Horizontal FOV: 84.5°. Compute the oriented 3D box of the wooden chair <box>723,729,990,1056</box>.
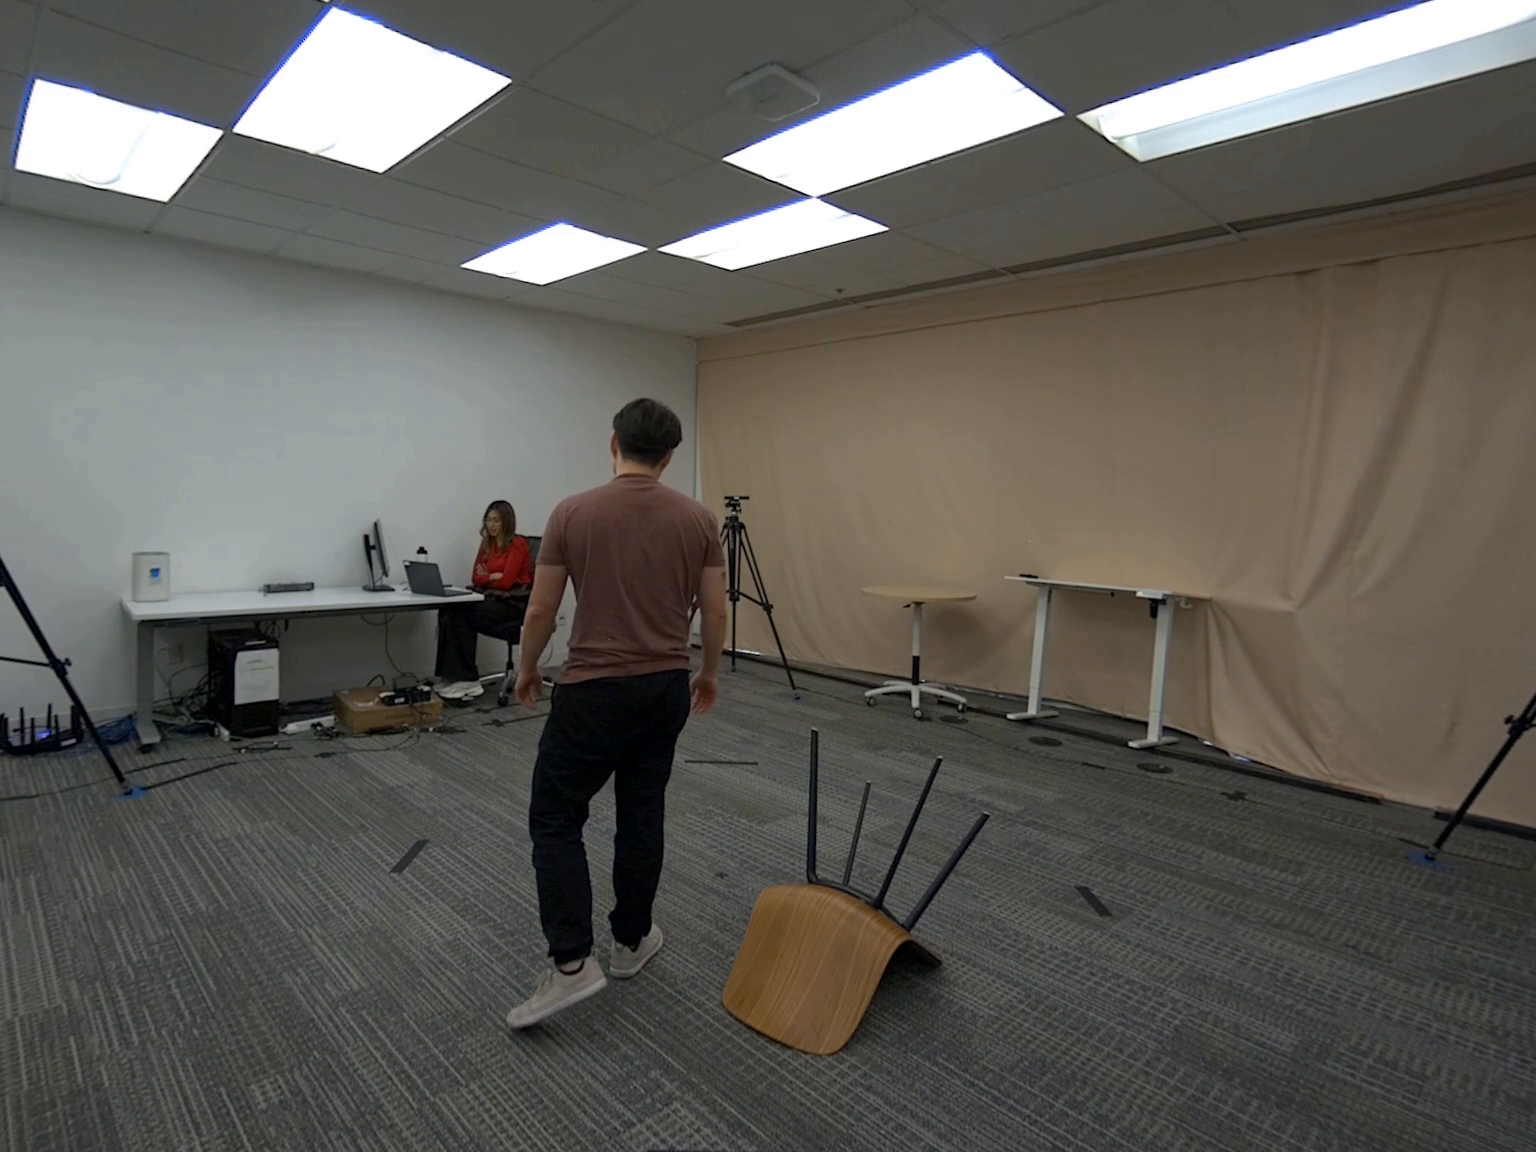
[{"bbox_3d":[0.267,0.995,2.538,0.490,0.883,0.507,4,-35,37],"label":"wooden chair"}]
